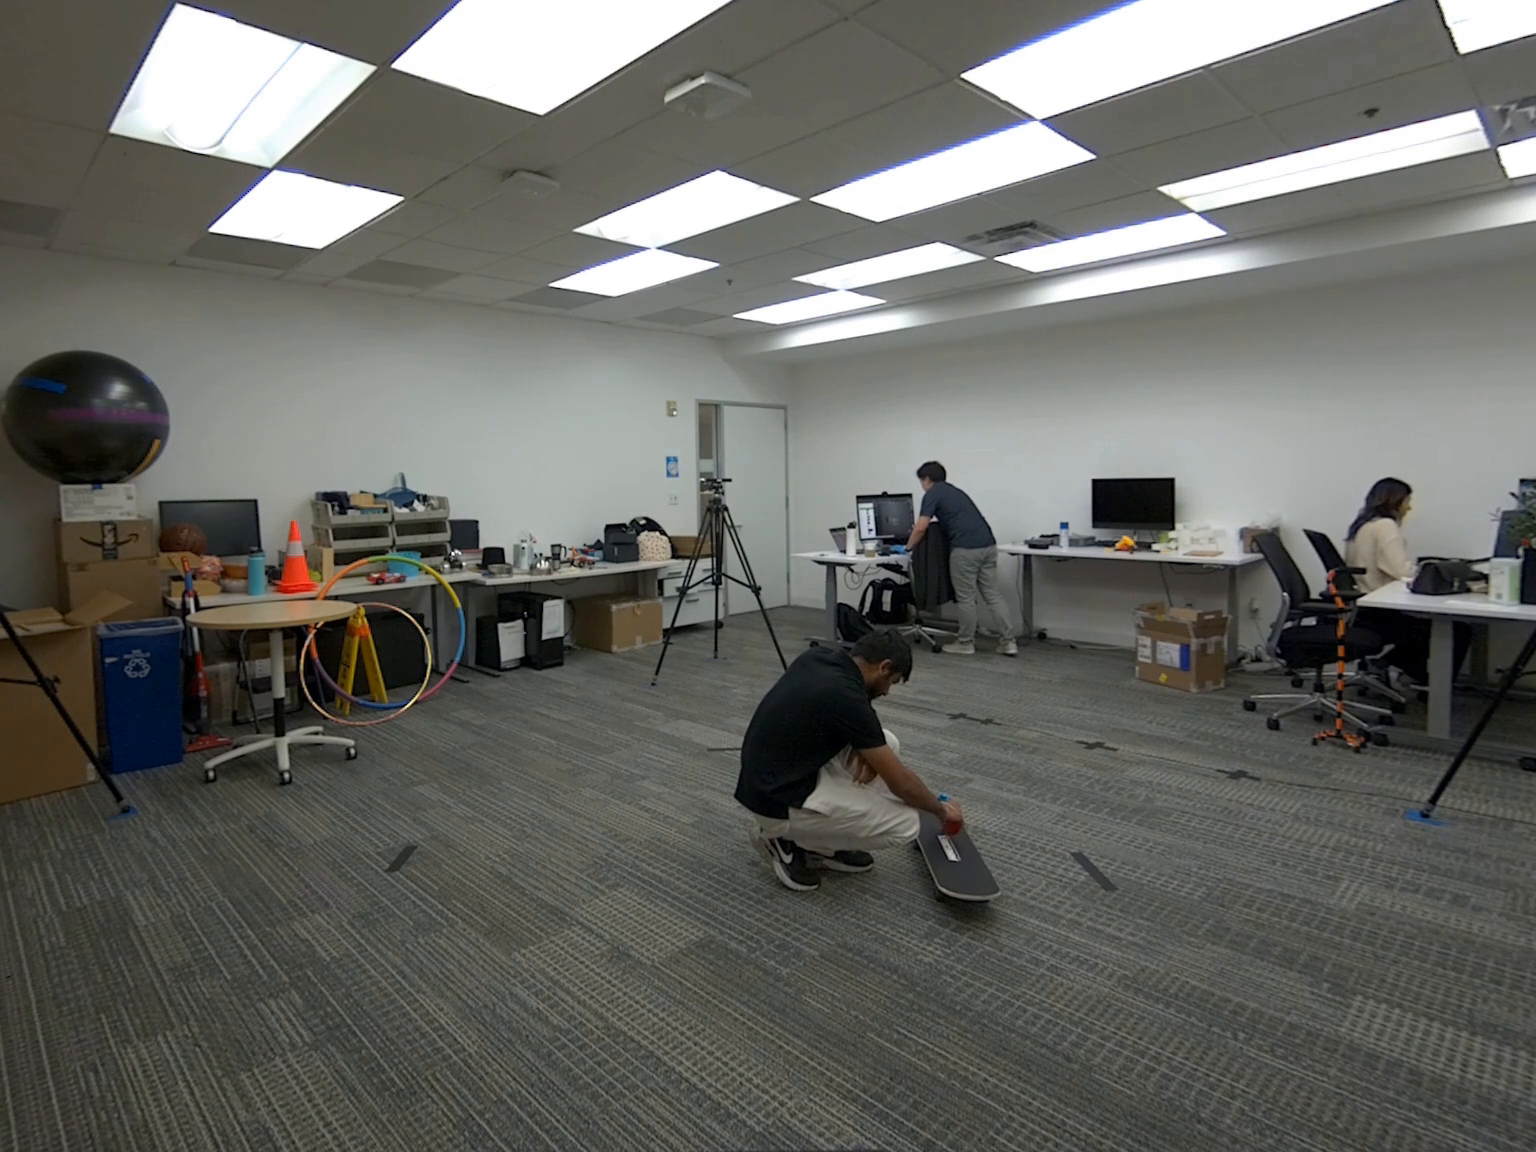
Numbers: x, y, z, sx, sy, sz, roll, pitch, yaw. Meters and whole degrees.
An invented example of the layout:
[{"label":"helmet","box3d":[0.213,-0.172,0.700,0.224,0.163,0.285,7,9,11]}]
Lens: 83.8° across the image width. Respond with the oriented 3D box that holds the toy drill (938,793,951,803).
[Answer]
[{"label":"toy drill","box3d":[0.653,0.882,3.084,0.061,0.165,0.150,-9,34,1]}]
